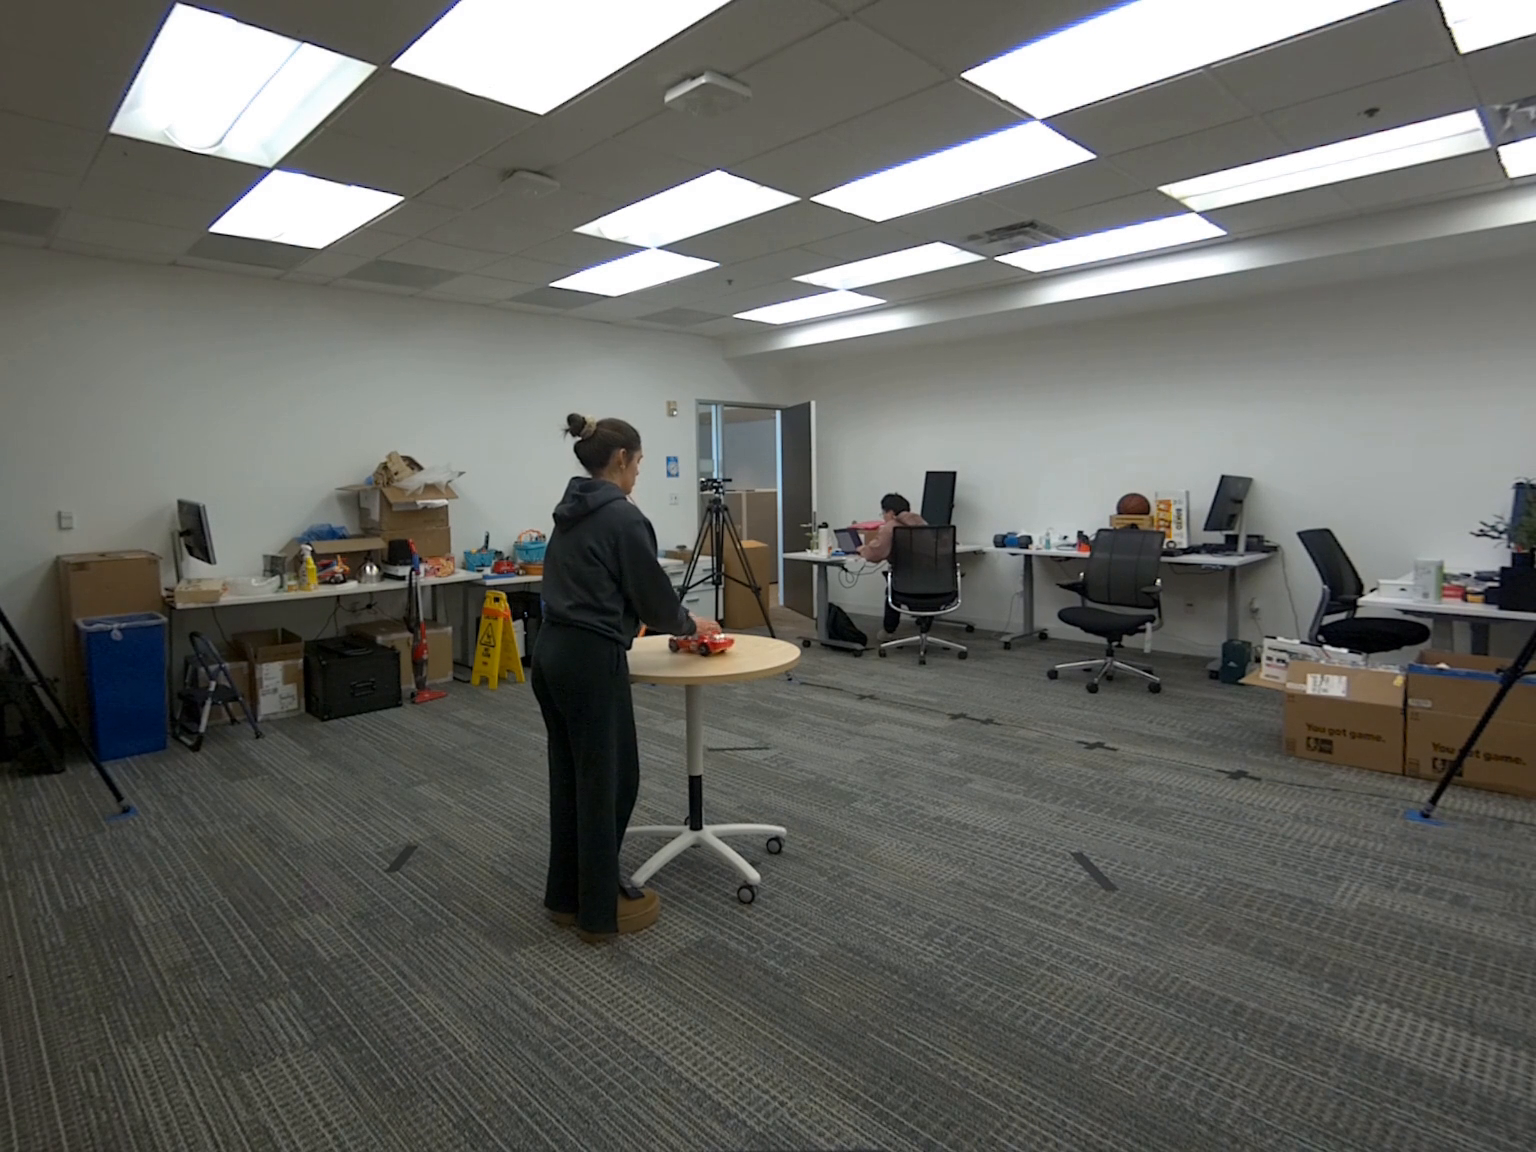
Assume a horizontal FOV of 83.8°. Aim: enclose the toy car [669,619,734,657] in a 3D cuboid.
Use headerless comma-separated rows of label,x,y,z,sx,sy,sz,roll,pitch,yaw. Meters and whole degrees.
toy car,-0.228,0.243,3.029,0.260,0.083,0.127,-10,-2,38
